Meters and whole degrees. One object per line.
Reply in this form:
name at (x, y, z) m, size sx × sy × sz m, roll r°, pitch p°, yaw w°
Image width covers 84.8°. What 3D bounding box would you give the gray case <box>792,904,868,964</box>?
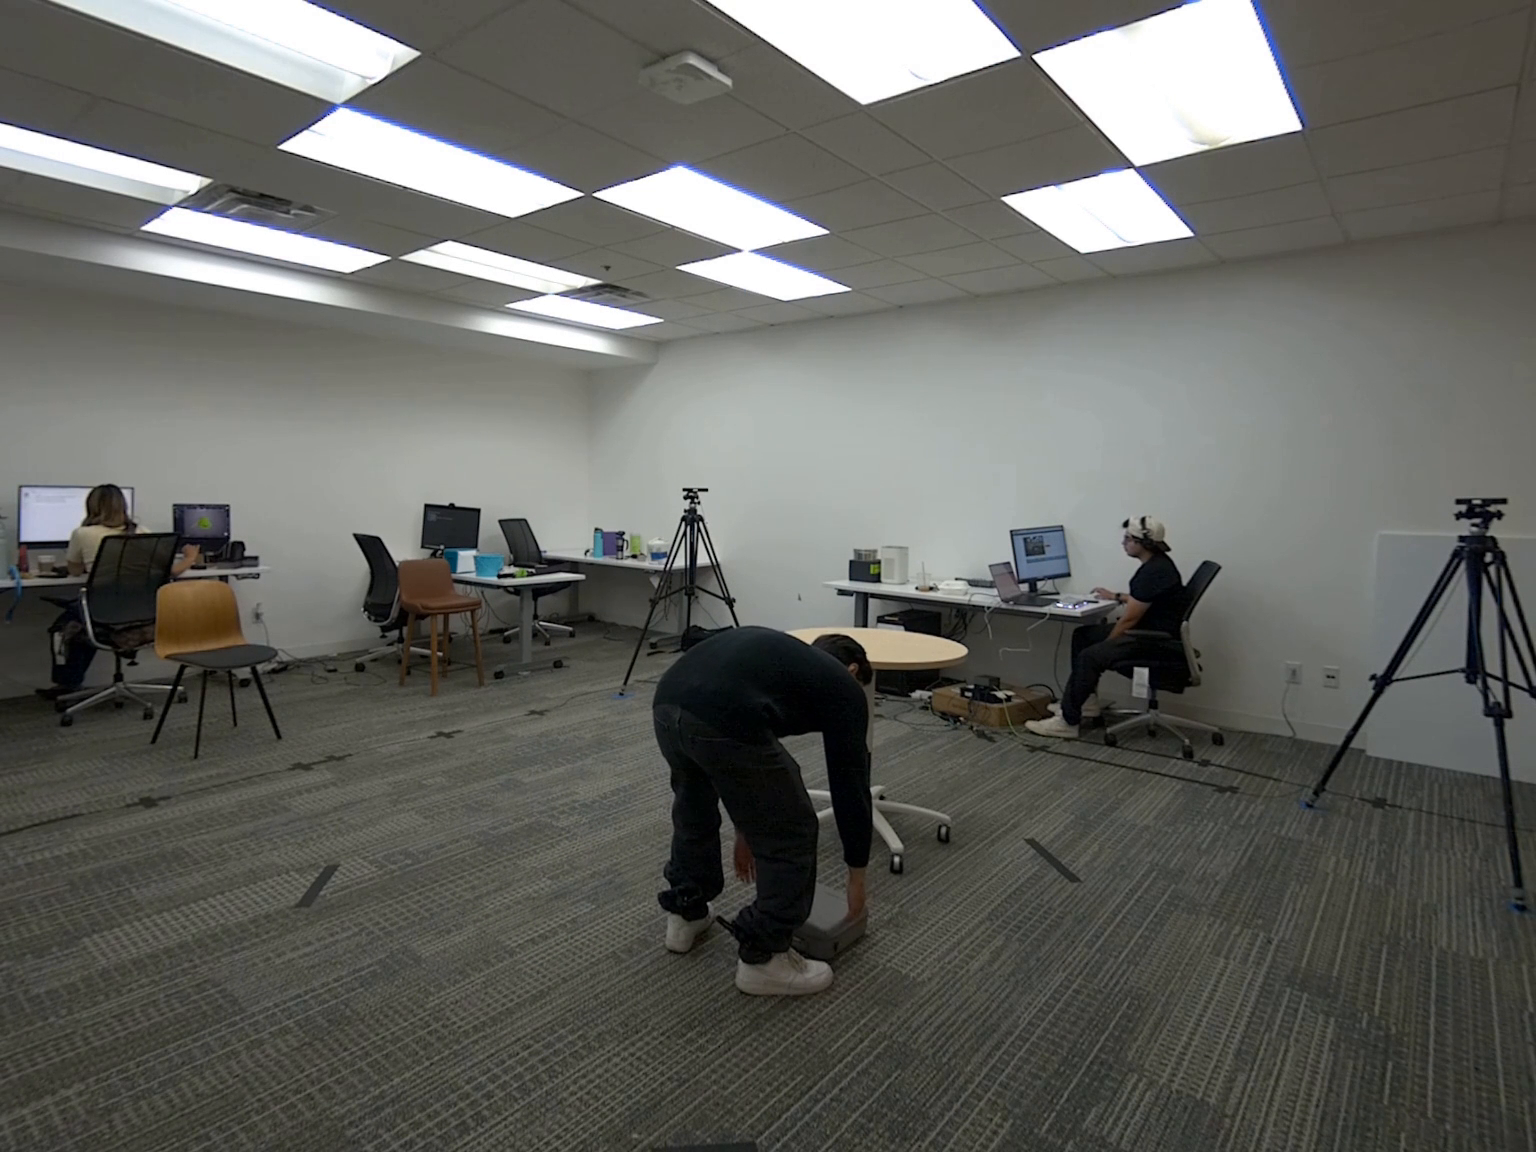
gray case at (0.146, 1.063, 2.654) m, size 0.266 × 0.104 × 0.253 m, roll 8°, pitch 8°, yaw 39°
